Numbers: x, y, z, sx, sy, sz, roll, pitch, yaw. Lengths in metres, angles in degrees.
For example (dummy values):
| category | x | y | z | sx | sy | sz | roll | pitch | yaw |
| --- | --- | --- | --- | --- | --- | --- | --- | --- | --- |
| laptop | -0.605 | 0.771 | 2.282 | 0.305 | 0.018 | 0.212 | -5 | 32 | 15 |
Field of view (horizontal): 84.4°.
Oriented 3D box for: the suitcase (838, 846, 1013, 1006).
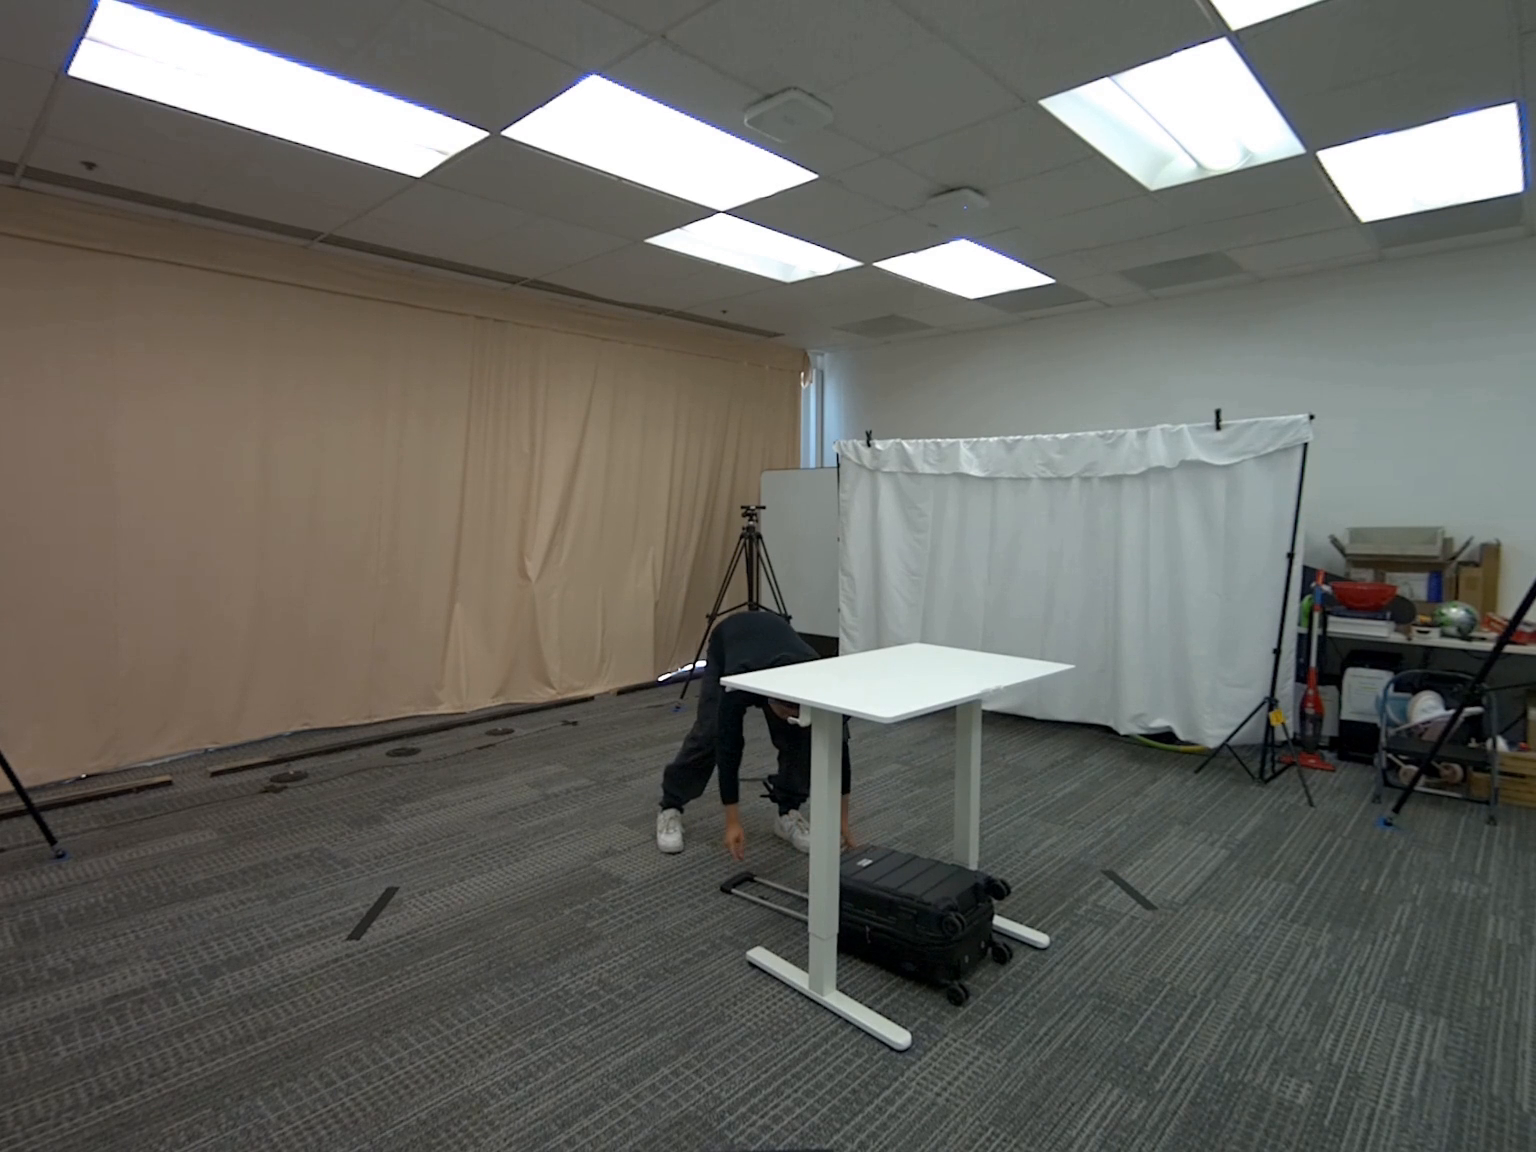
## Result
| category | x | y | z | sx | sy | sz | roll | pitch | yaw |
| --- | --- | --- | --- | --- | --- | --- | --- | --- | --- |
| suitcase | 0.268 | 1.035 | 2.770 | 1.011 | 0.256 | 0.372 | 4 | 6 | 41 |
